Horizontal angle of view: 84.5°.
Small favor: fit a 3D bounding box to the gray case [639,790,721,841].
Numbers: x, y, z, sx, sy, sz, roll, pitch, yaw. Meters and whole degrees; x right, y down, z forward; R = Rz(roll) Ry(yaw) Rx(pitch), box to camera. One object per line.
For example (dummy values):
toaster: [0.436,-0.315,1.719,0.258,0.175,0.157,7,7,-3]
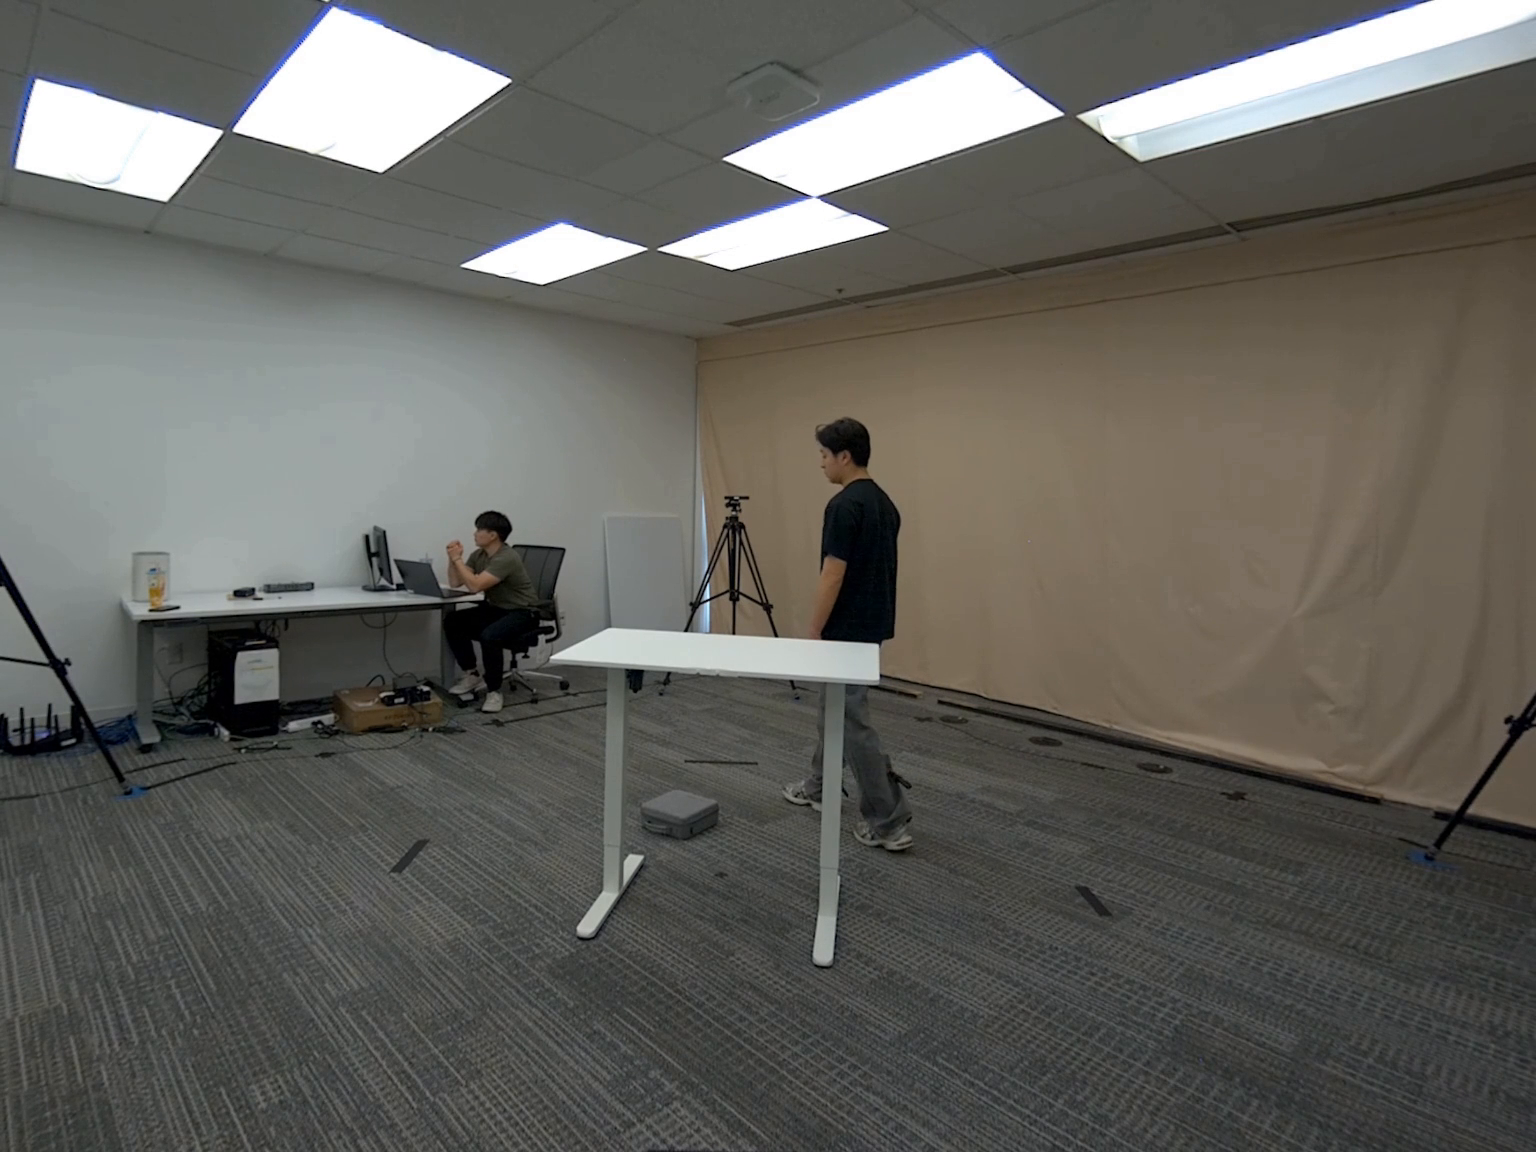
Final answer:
gray case: [-0.386,1.006,3.551,0.269,0.102,0.281,5,8,35]
